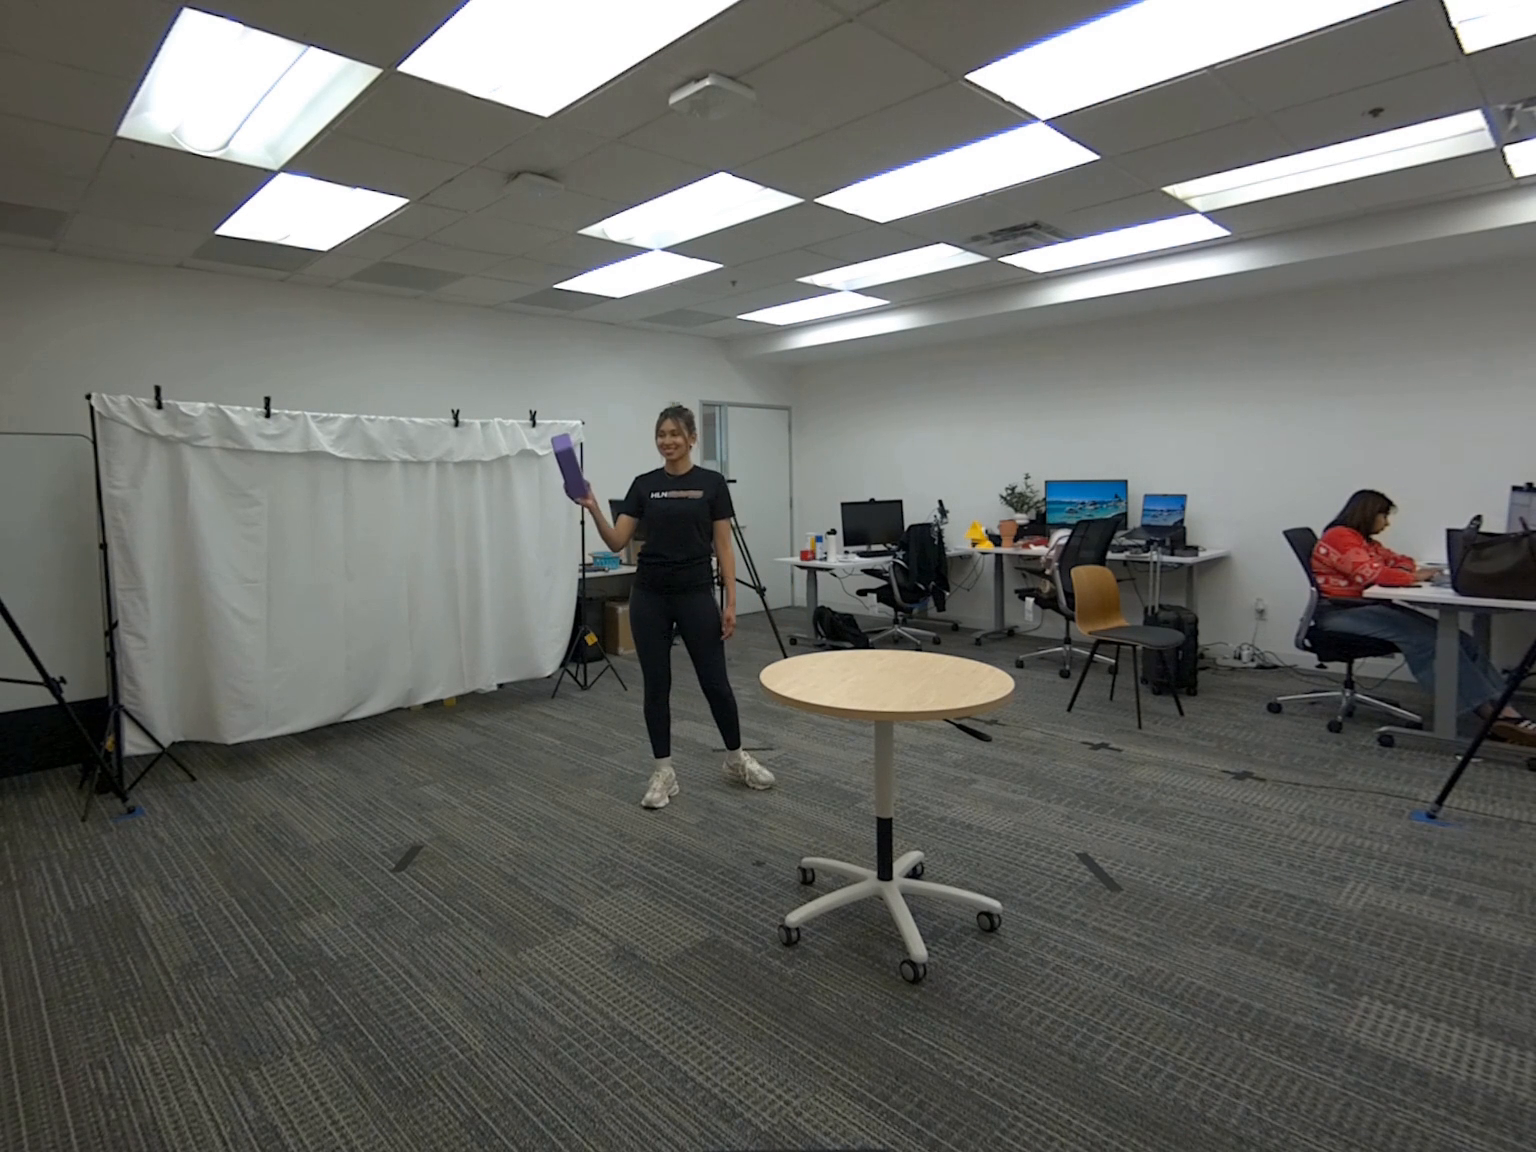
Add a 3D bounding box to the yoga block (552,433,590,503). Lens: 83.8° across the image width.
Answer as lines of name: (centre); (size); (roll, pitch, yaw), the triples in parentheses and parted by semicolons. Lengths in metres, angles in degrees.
yoga block: (-0.802, -0.445, 3.454); (0.076, 0.222, 0.154); (-19, 34, -7)
